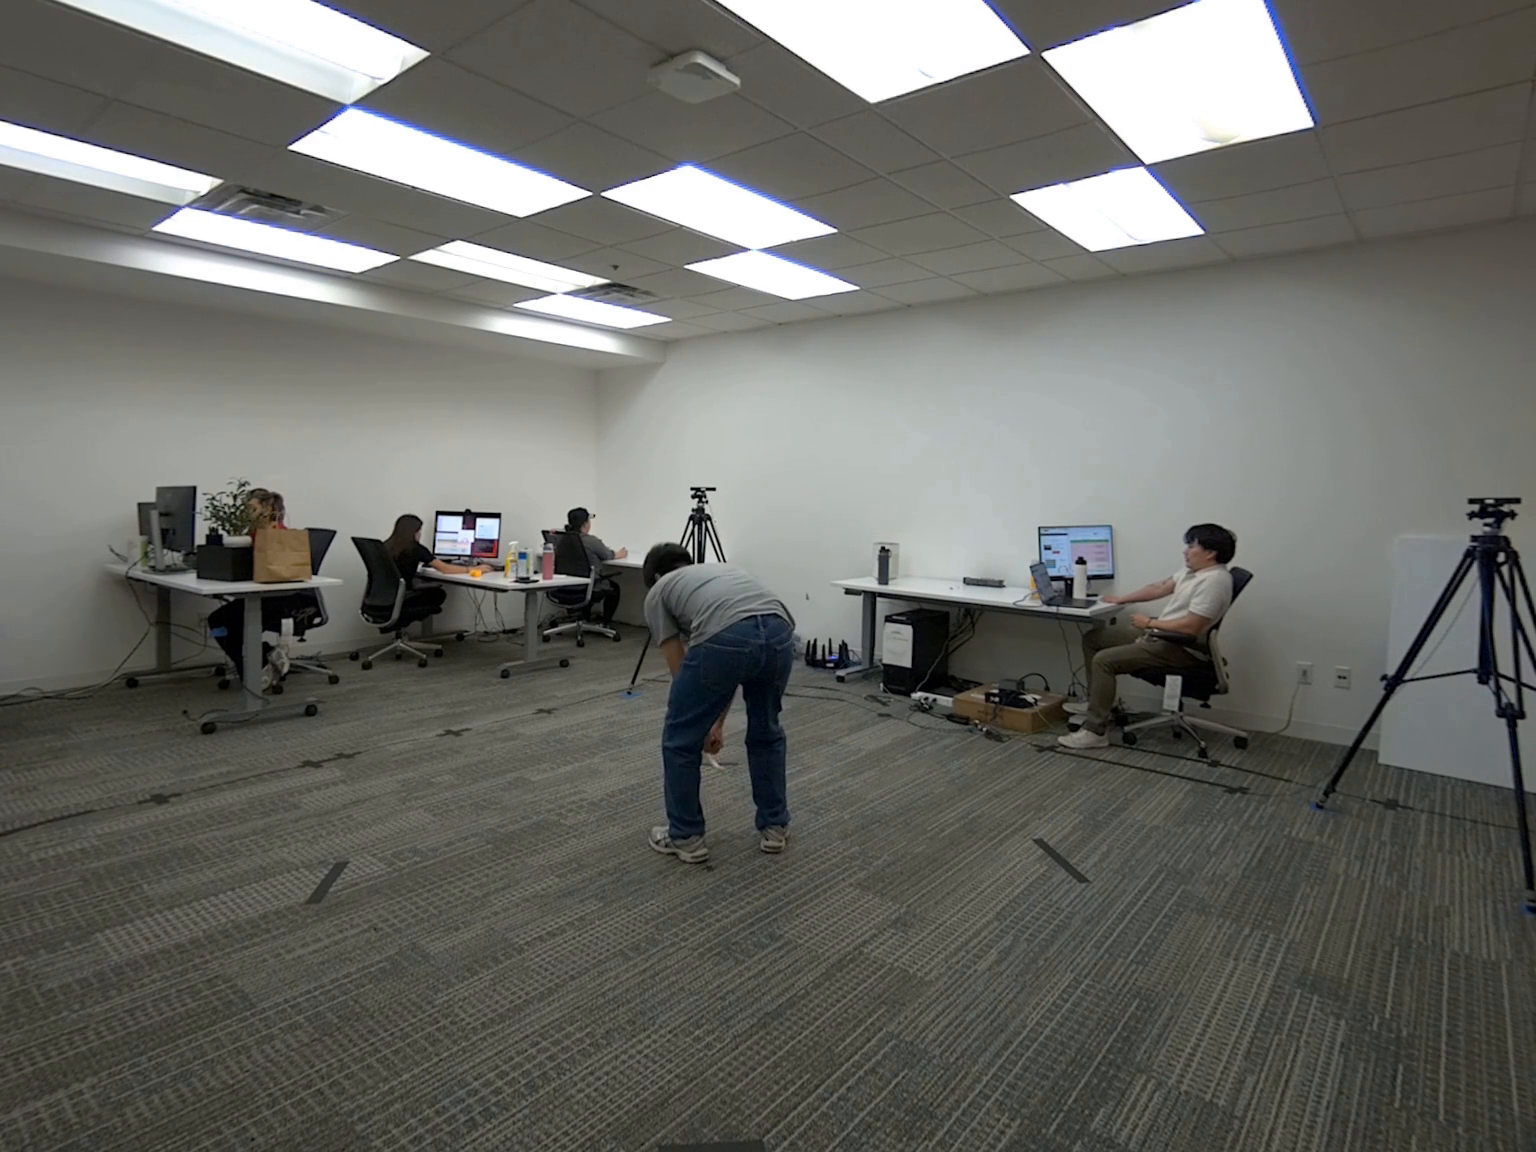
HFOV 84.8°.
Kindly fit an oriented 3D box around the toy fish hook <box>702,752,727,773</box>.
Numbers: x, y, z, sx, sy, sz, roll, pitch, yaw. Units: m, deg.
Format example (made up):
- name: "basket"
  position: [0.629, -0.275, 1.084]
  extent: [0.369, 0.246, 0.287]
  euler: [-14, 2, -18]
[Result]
- name: "toy fish hook"
  position: [-0.254, 0.739, 3.595]
  extent: [0.048, 0.225, 0.507]
  euler: [-45, 1, -15]
